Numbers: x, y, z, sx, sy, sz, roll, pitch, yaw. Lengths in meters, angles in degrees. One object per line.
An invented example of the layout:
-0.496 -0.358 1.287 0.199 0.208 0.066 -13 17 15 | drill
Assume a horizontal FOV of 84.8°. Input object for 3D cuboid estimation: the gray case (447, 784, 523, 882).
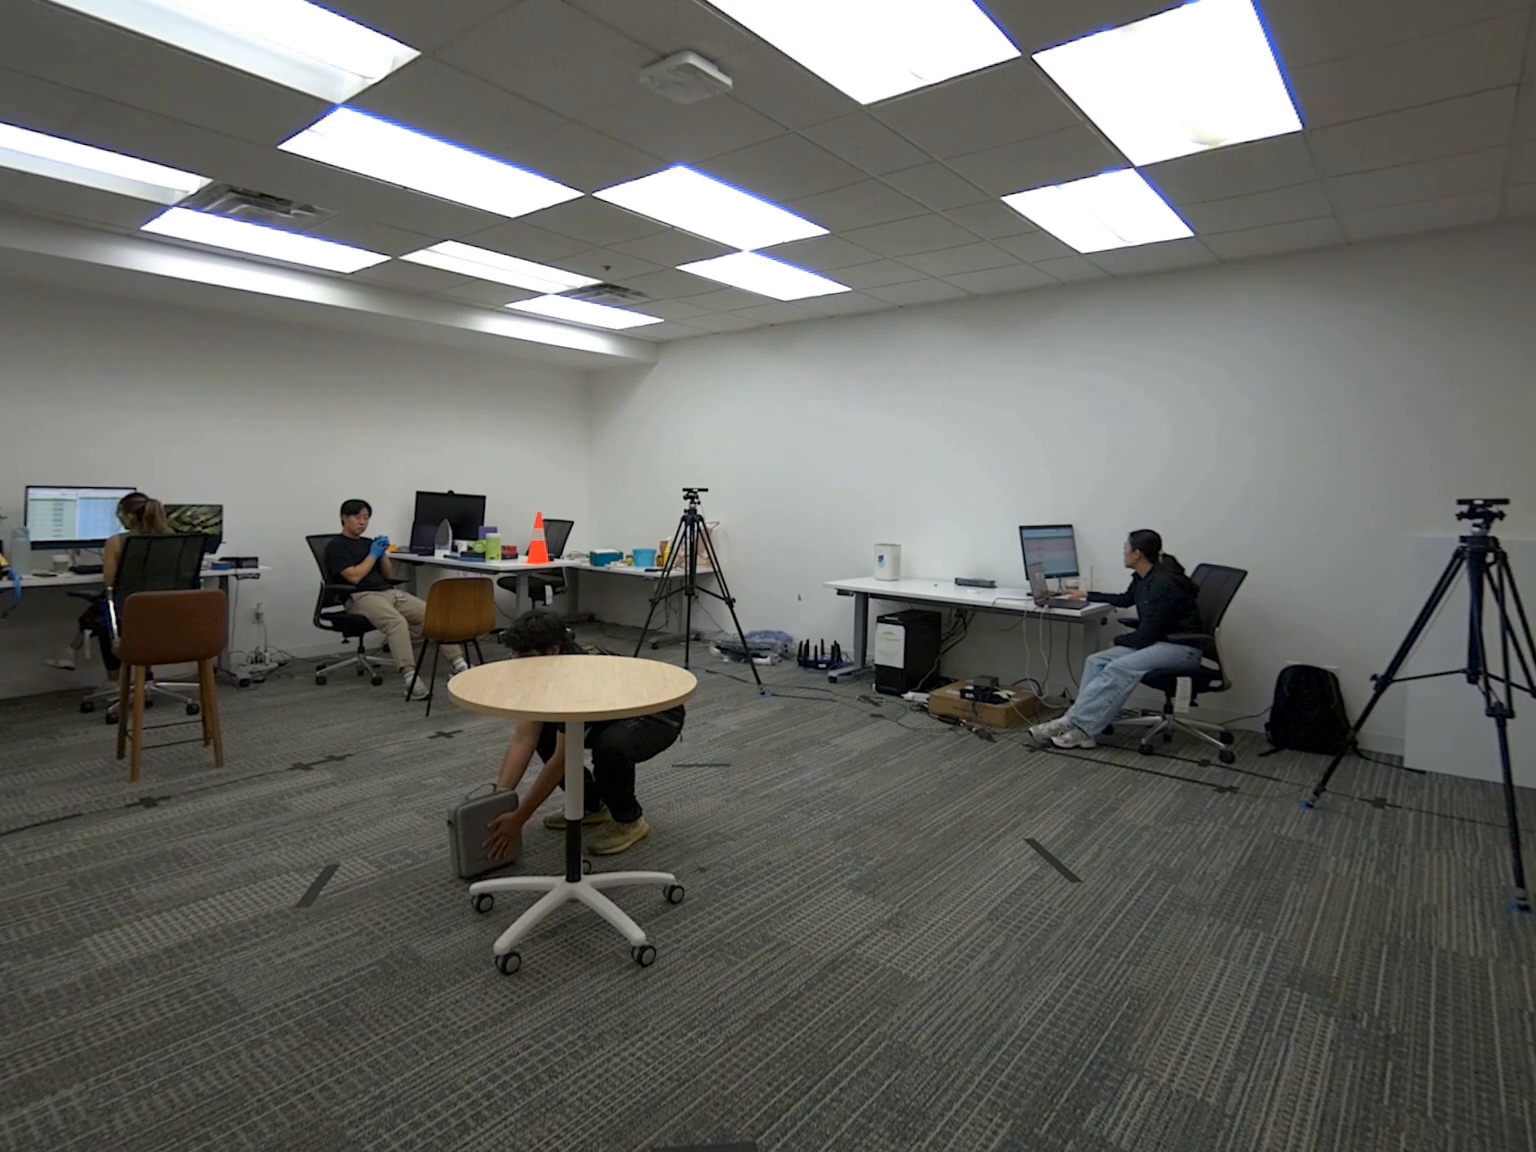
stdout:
-1.050 0.921 3.072 0.107 0.261 0.249 -6 0 39 | gray case
